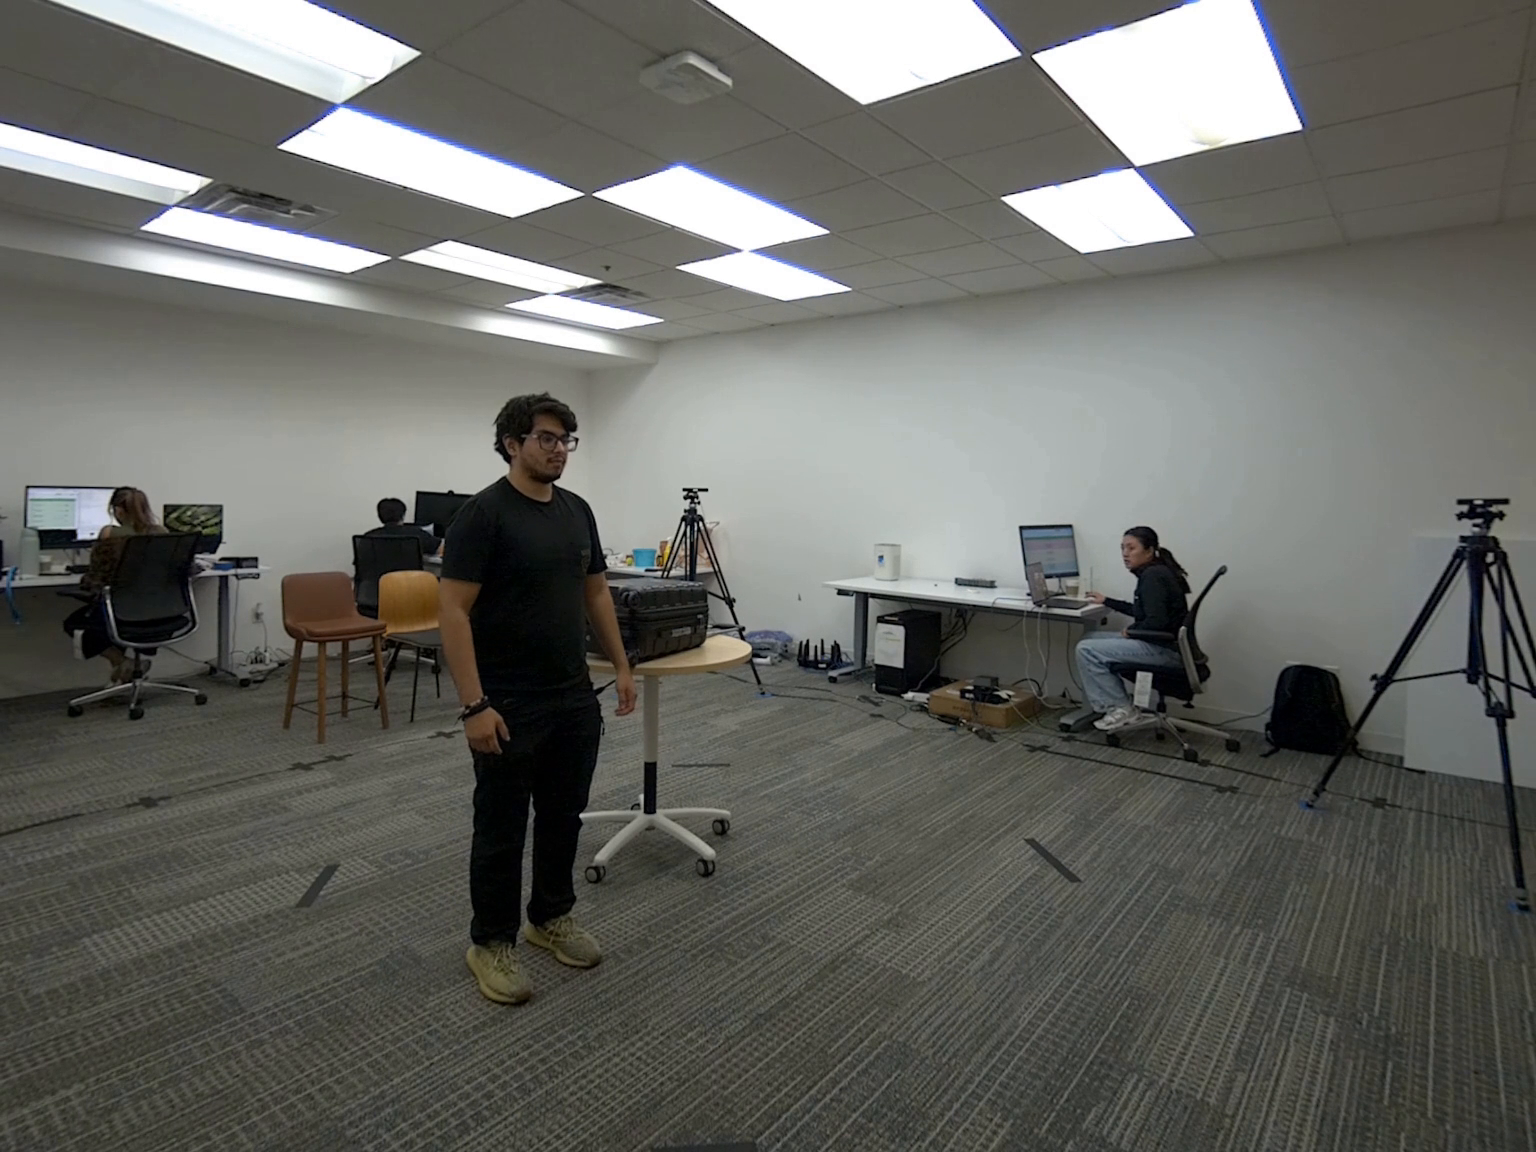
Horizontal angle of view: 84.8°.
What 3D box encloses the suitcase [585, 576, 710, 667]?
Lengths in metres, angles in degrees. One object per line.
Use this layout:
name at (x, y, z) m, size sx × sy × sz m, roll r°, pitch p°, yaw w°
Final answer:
suitcase at (-0.393, 0.134, 3.331) m, size 0.395 × 0.256 × 0.955 m, roll 2°, pitch 6°, yaw 28°
